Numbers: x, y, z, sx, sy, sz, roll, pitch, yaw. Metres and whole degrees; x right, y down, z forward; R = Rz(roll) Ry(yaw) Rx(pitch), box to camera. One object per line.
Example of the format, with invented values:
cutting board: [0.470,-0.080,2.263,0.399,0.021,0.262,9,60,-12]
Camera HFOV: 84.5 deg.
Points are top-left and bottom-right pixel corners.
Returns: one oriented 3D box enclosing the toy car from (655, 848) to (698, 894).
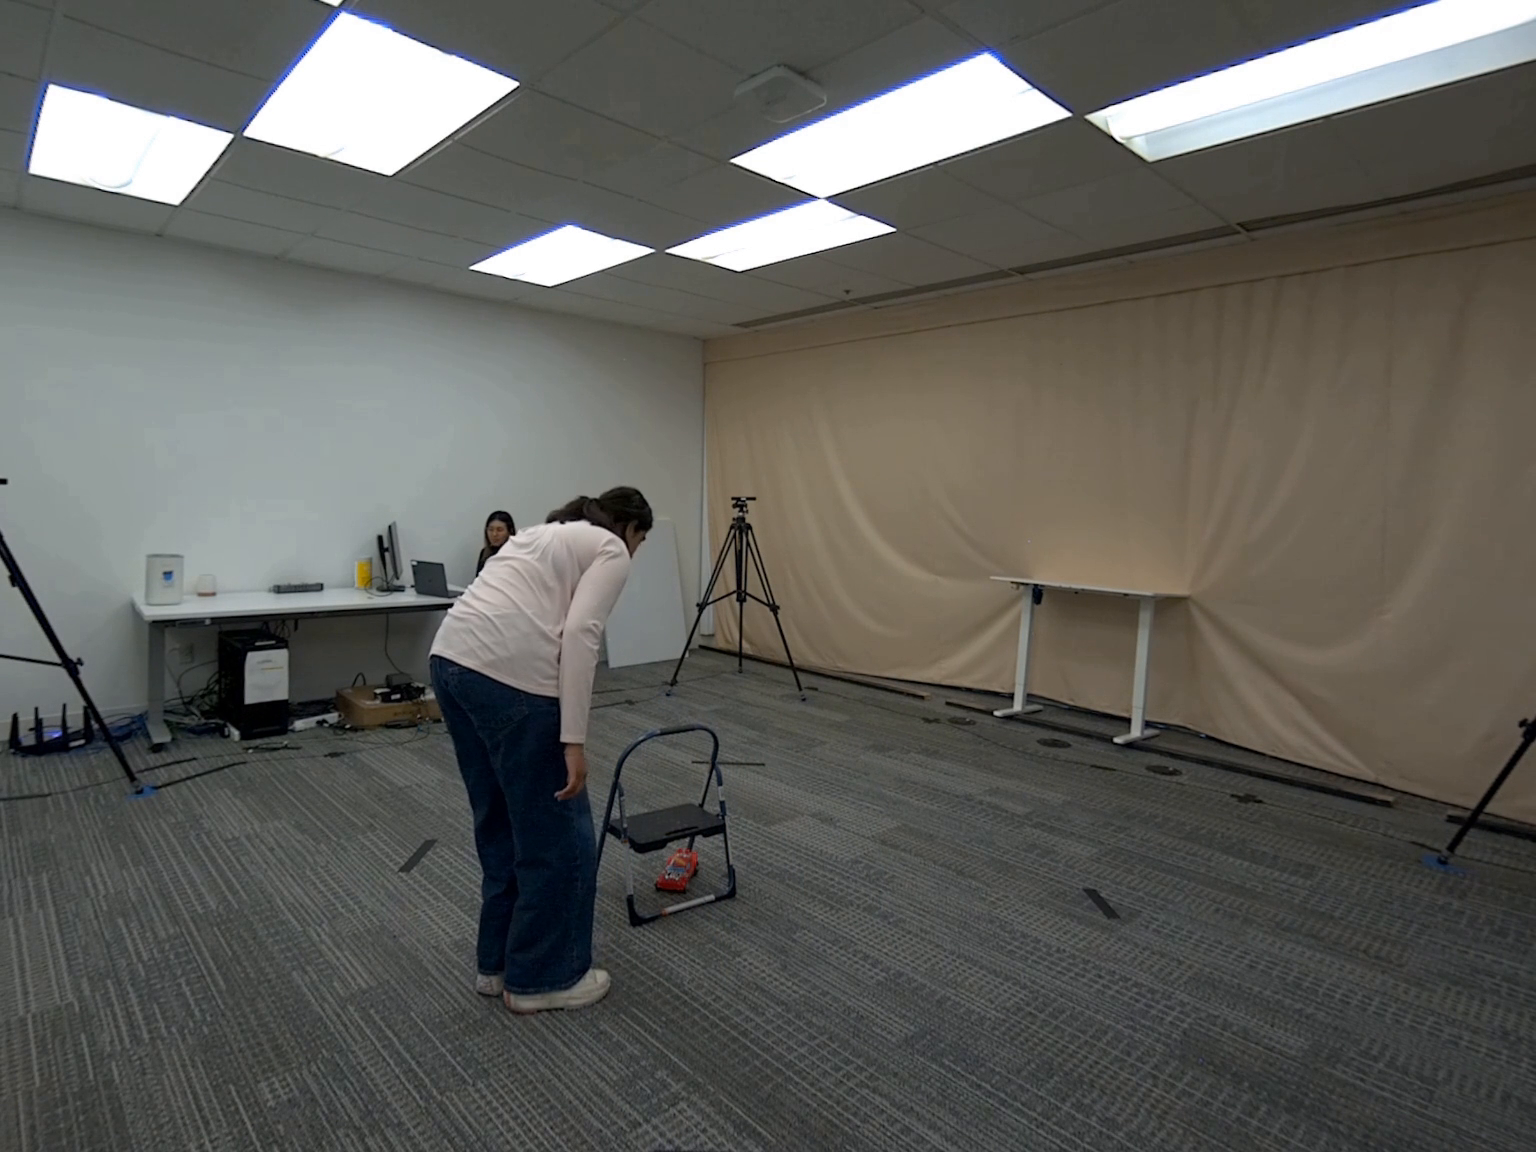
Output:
toy car: [-0.333,1.076,3.061,0.131,0.082,0.255,3,17,9]
